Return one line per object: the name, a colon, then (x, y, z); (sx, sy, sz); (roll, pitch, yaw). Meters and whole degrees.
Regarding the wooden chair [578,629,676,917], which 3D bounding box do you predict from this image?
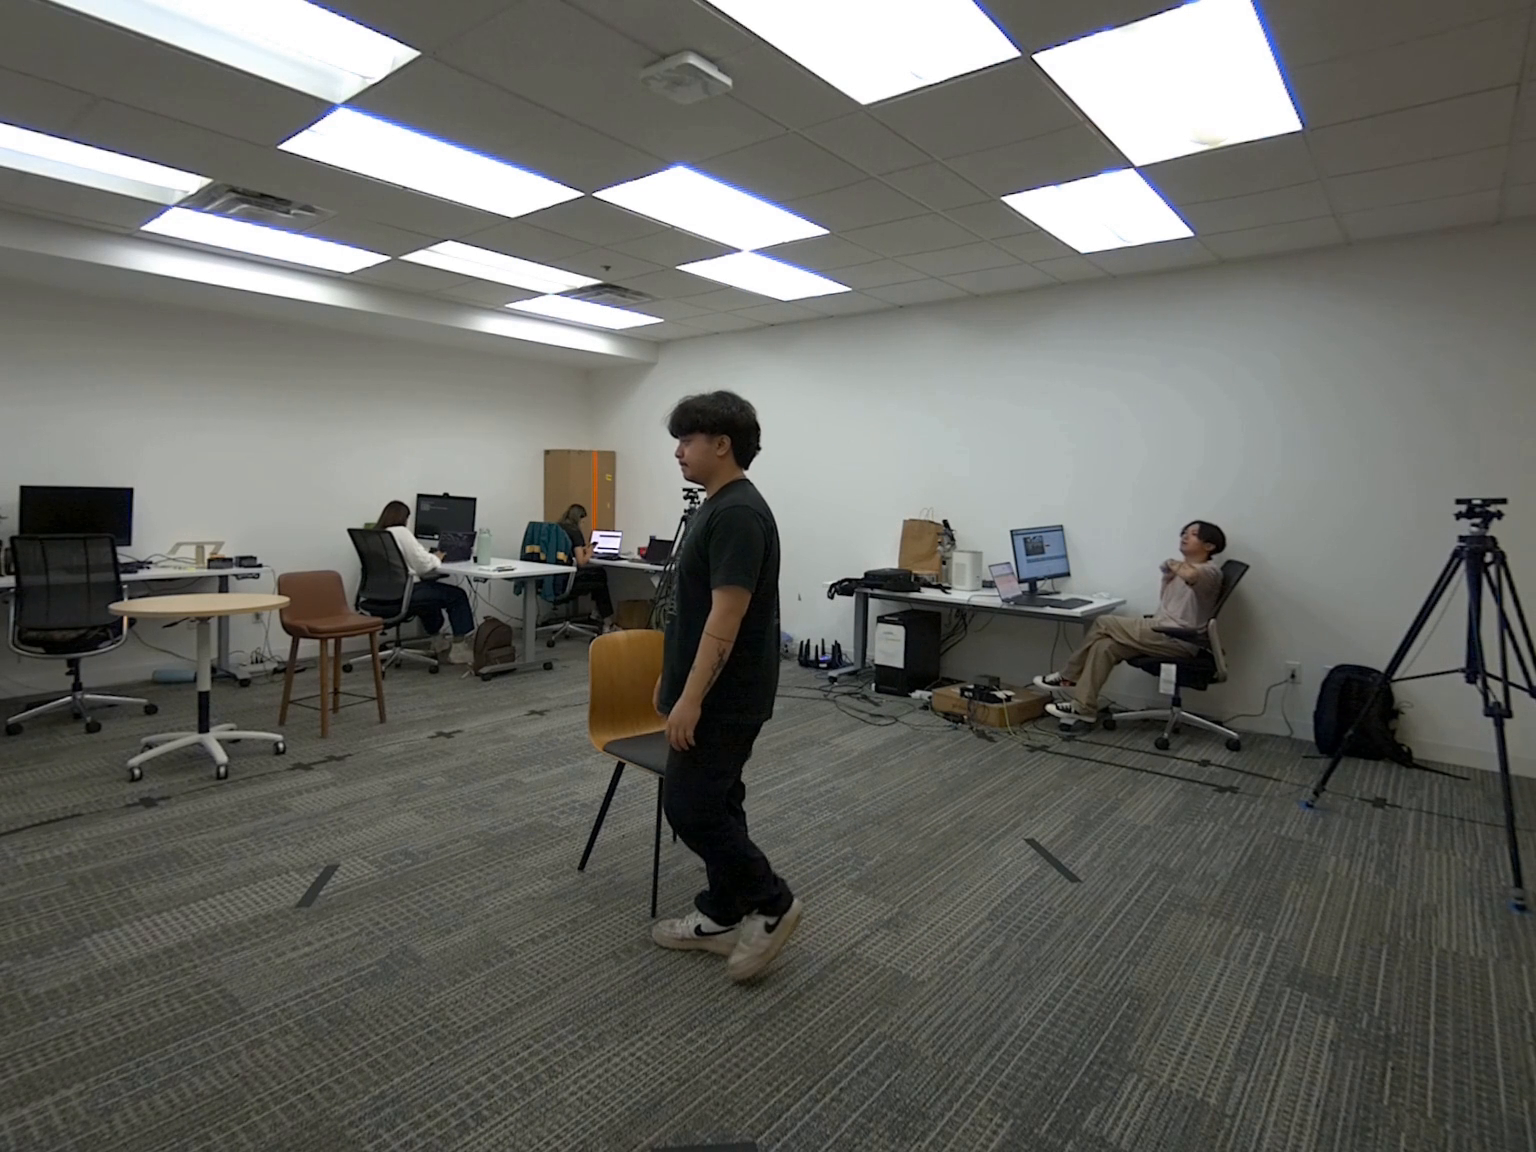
wooden chair: (-0.364, 0.647, 3.027); (0.463, 0.878, 0.539); (-1, 0, -43)
